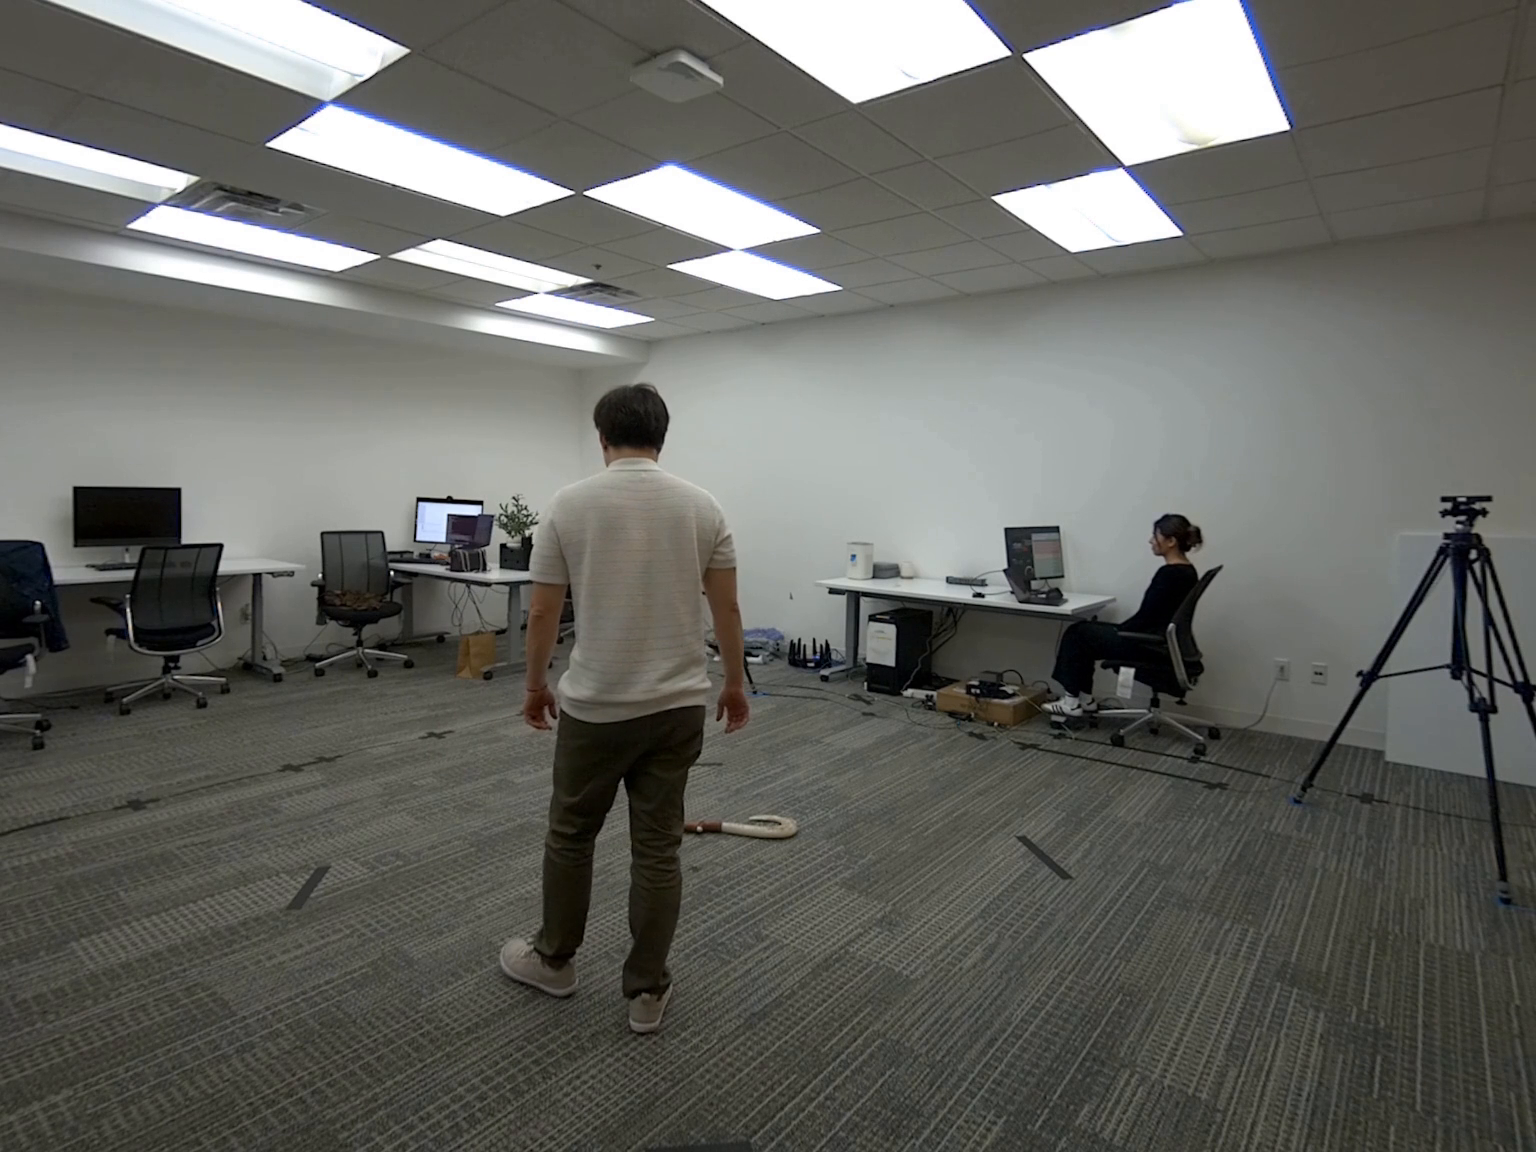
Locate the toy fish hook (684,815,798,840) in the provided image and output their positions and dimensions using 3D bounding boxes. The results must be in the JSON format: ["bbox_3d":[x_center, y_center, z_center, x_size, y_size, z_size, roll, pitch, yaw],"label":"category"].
[{"bbox_3d":[-0.147,1.011,3.482,0.508,0.048,0.223,2,-2,2],"label":"toy fish hook"}]
